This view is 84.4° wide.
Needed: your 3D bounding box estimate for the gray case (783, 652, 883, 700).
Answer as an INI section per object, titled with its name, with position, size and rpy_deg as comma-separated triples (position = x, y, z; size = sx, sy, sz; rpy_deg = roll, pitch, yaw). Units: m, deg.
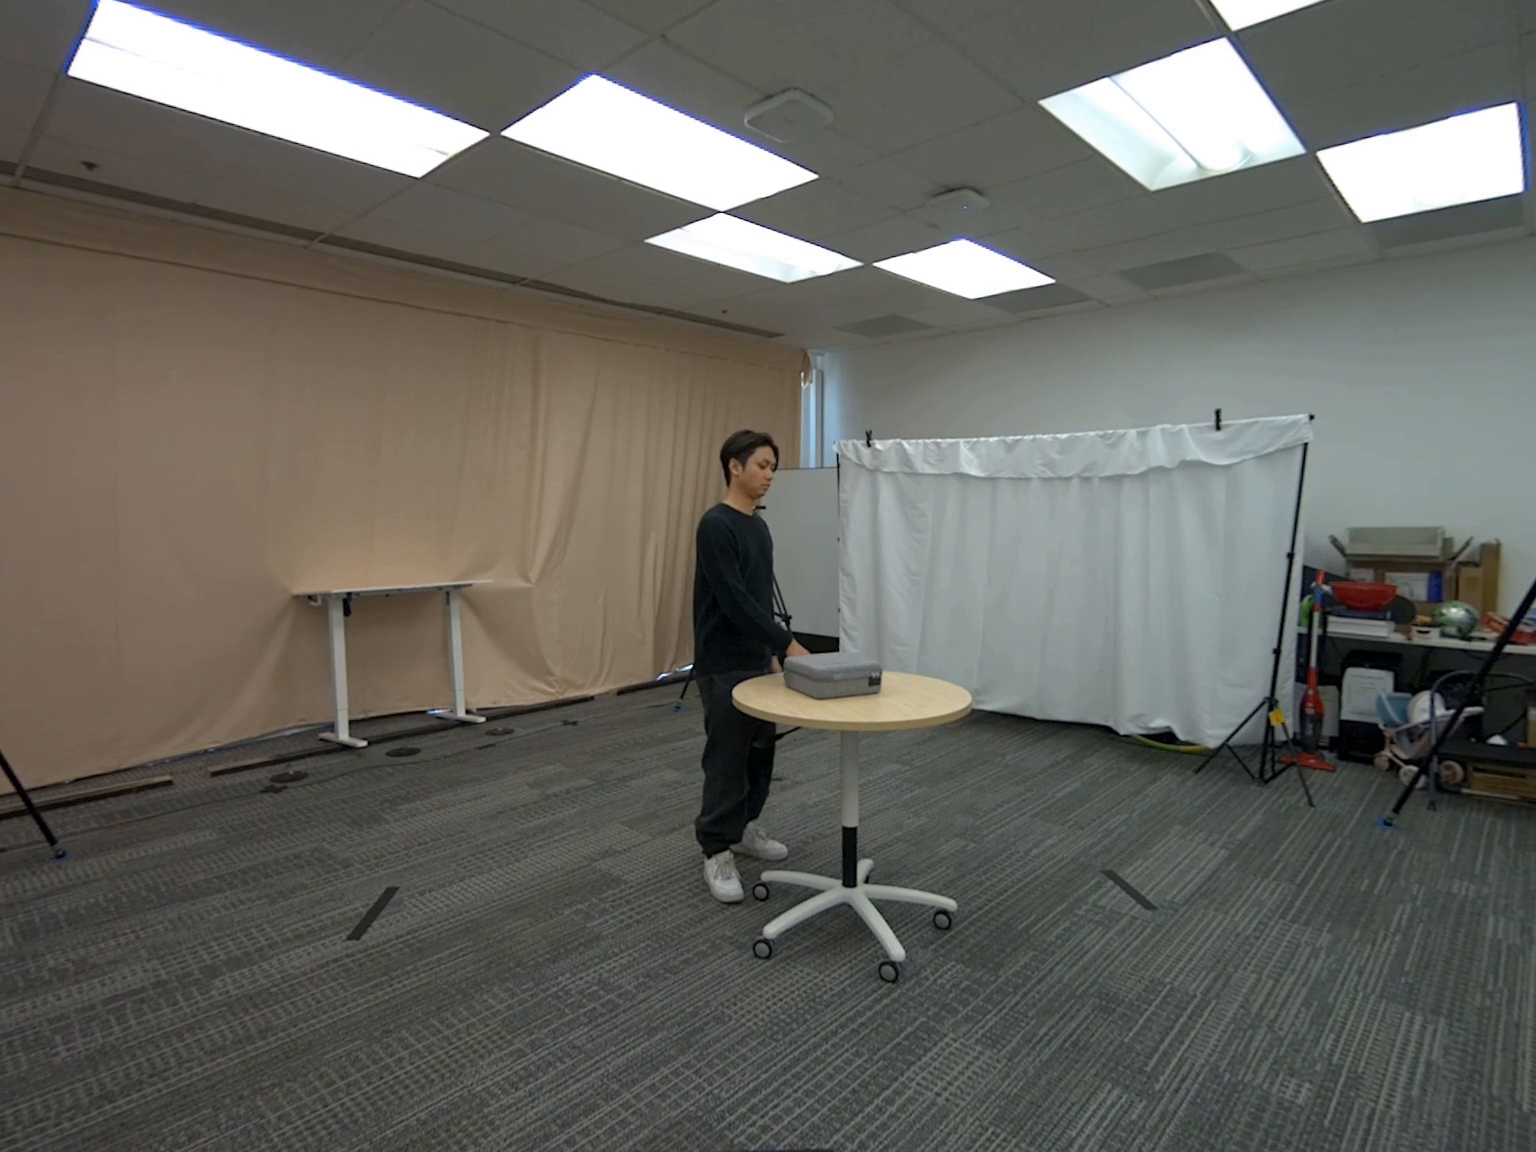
[gray case]
position = 0.214, 0.324, 2.776
size = 0.251, 0.104, 0.267
rpy_deg = -3, 5, -23
